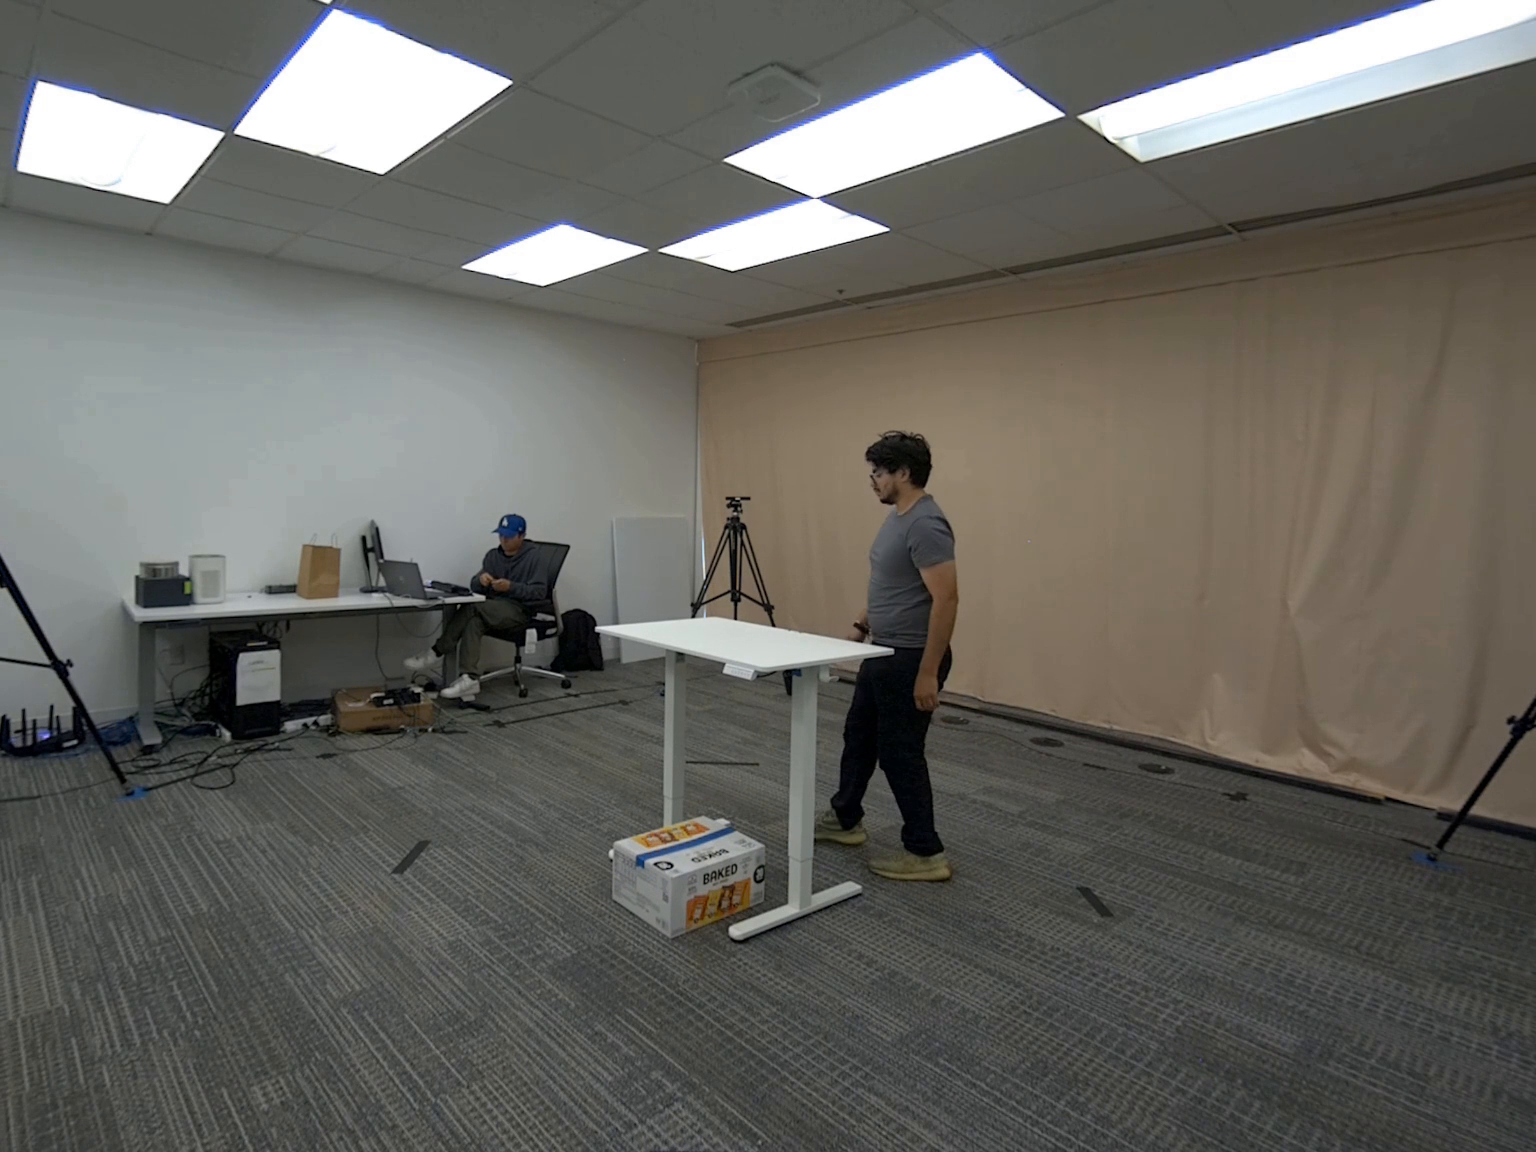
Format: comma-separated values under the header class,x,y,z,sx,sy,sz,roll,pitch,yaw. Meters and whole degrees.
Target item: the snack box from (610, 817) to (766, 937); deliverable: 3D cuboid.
class,x,y,z,sx,sy,sz,roll,pitch,yaw
snack box,-0.277,1.024,2.889,0.396,0.205,0.349,-3,6,-42
